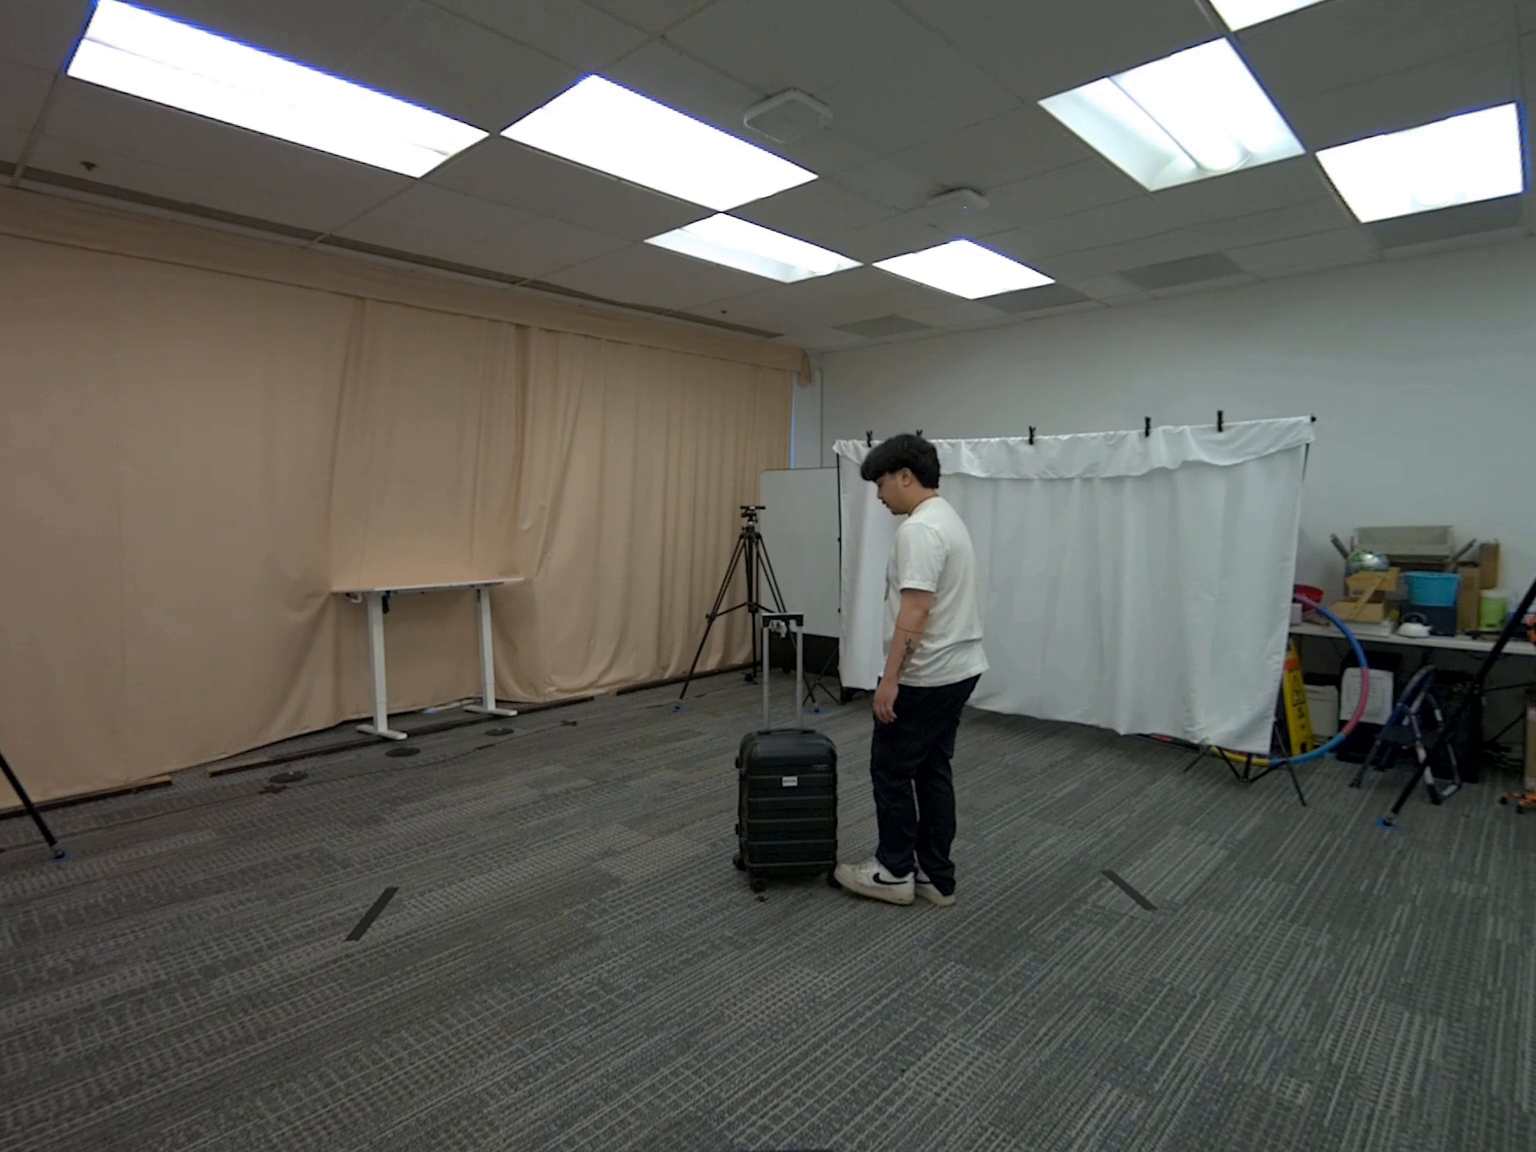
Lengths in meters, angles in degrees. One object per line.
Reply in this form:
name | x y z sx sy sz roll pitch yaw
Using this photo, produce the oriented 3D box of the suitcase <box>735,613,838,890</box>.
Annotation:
suitcase | 0.073 0.652 3.130 0.382 0.975 0.259 0 5 -4
